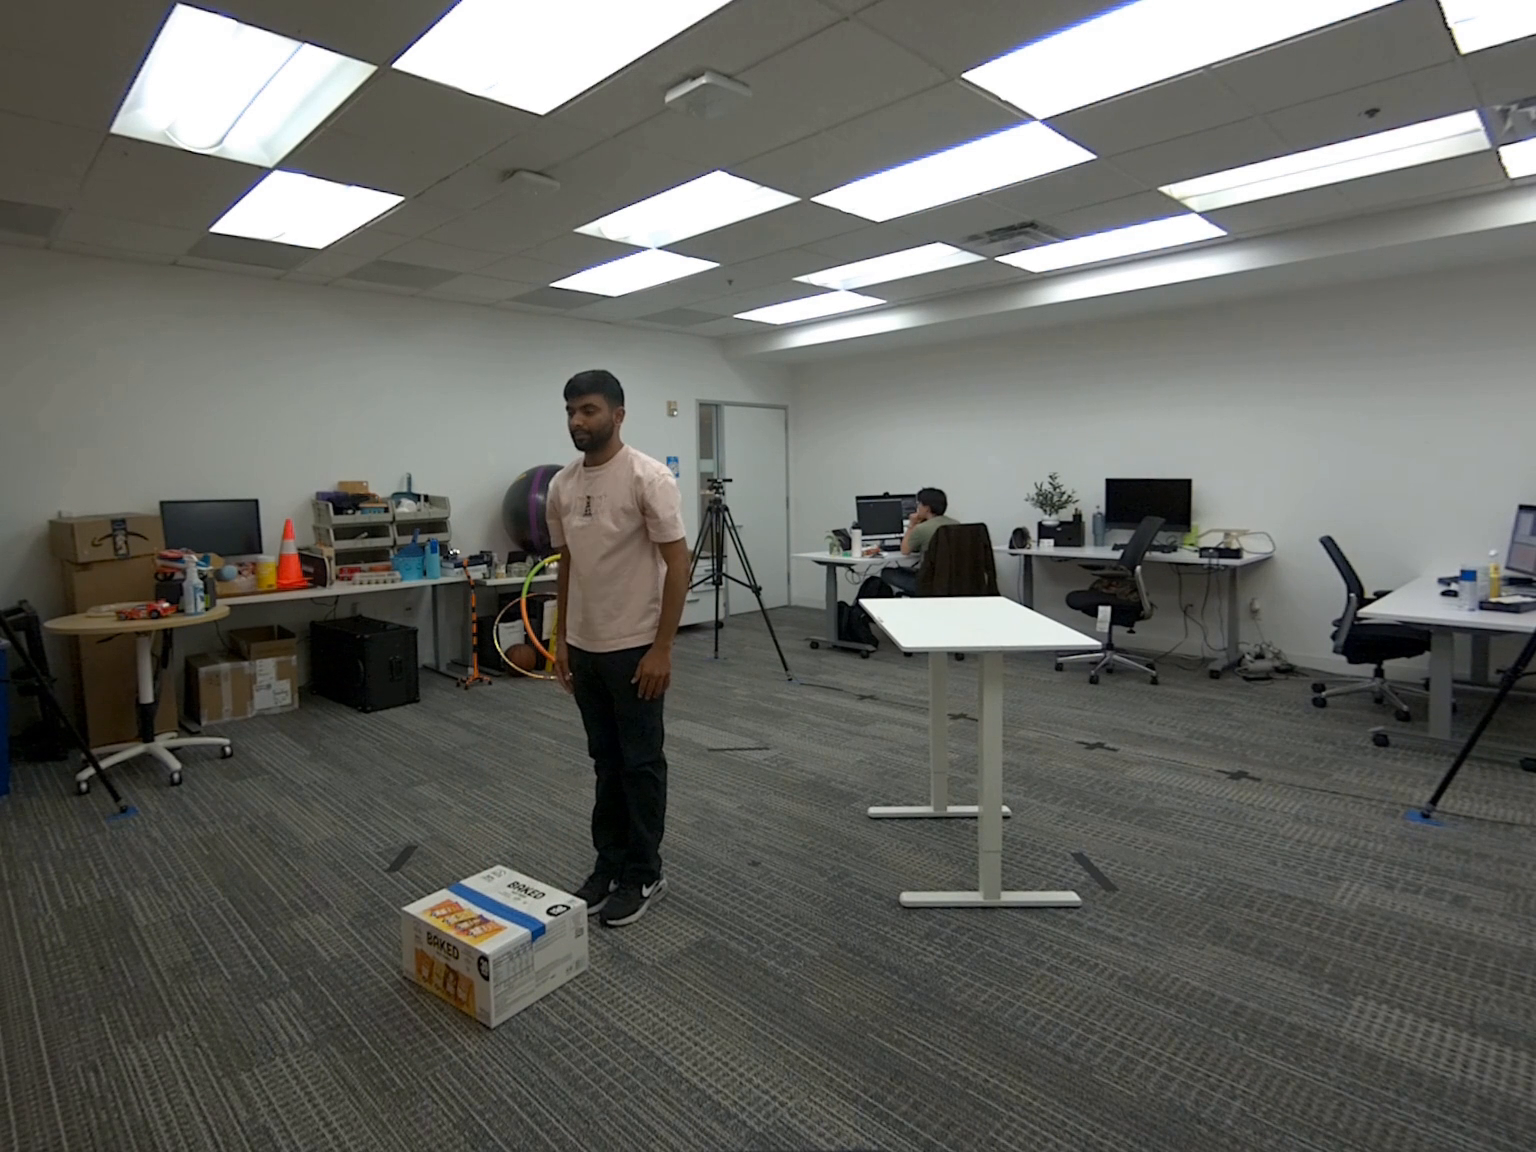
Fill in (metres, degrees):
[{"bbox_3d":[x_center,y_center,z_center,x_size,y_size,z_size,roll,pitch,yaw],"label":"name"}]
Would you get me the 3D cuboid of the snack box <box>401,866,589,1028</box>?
[{"bbox_3d":[-0.772,1.038,2.434,0.417,0.205,0.332,3,8,37],"label":"snack box"}]
